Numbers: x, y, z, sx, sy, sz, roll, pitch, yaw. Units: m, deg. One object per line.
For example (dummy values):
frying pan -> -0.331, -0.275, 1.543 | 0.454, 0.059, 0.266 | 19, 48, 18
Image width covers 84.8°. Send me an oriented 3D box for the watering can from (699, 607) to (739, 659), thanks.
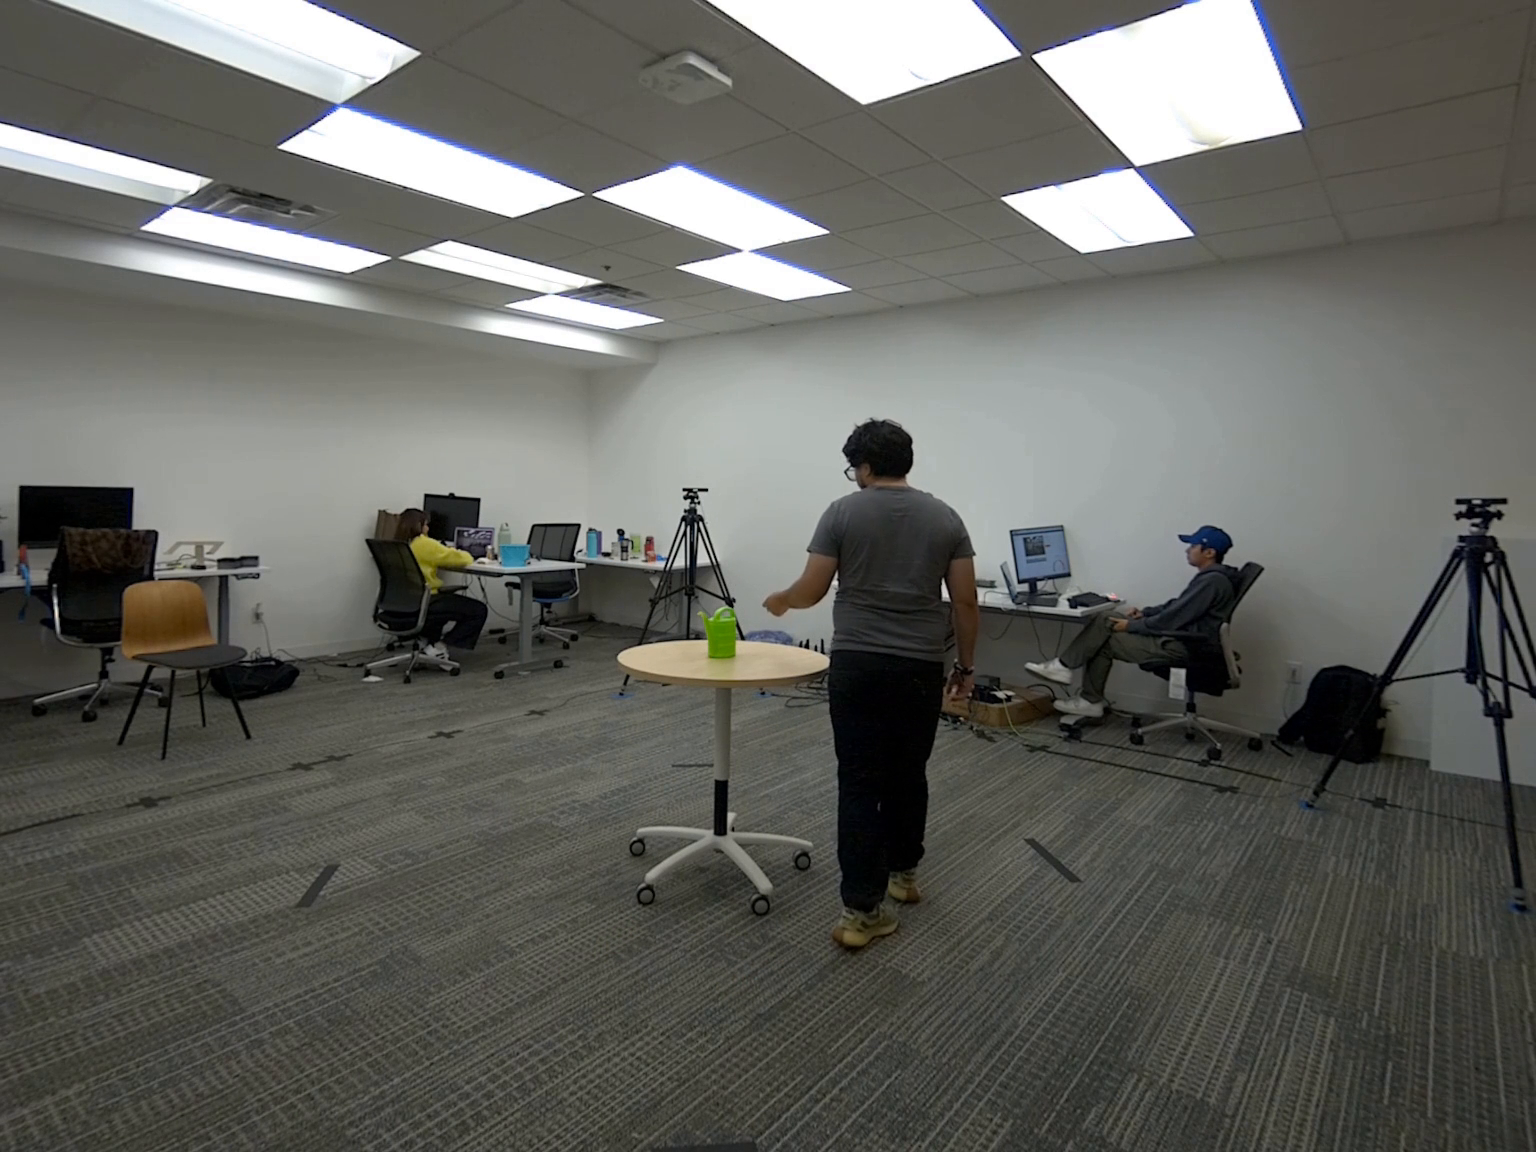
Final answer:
watering can -> -0.204, 0.203, 3.070 | 0.101, 0.176, 0.270 | 2, 3, 37
